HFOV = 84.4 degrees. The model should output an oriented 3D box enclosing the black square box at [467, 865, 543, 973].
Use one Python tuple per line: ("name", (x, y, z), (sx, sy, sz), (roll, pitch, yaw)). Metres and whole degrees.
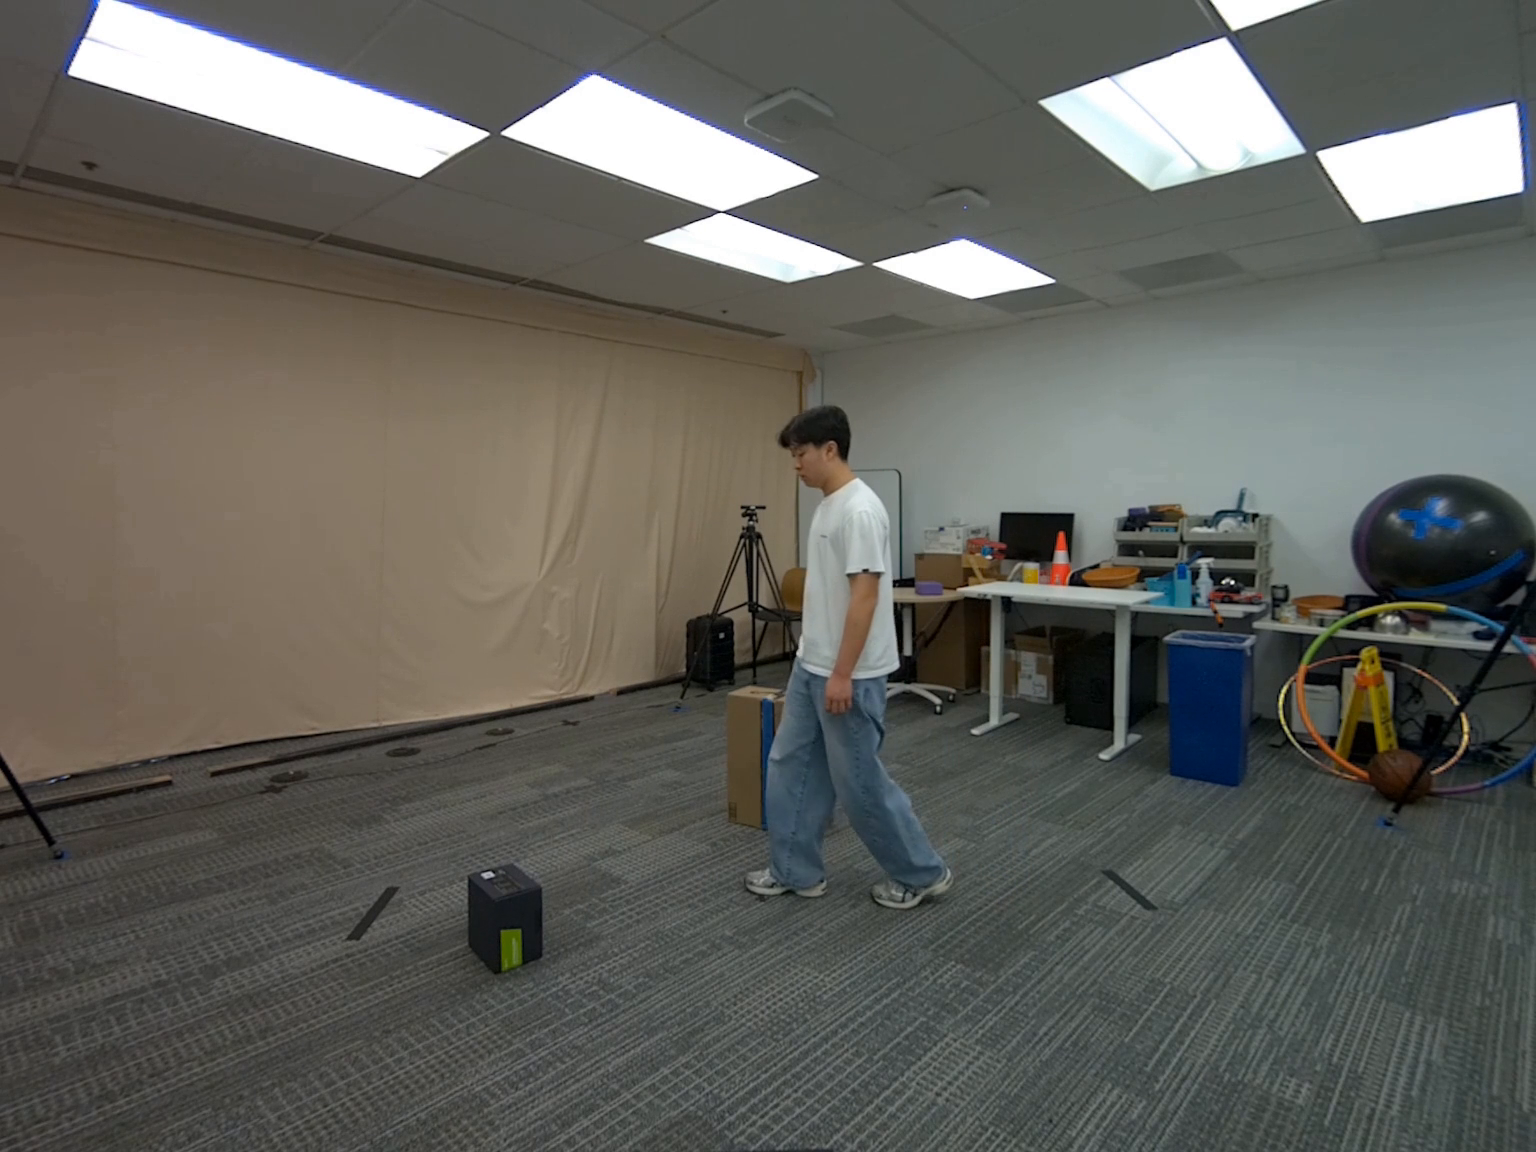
("black square box", (-0.824, 1.062, 2.625), (0.151, 0.227, 0.224), (-2, 4, -40))
